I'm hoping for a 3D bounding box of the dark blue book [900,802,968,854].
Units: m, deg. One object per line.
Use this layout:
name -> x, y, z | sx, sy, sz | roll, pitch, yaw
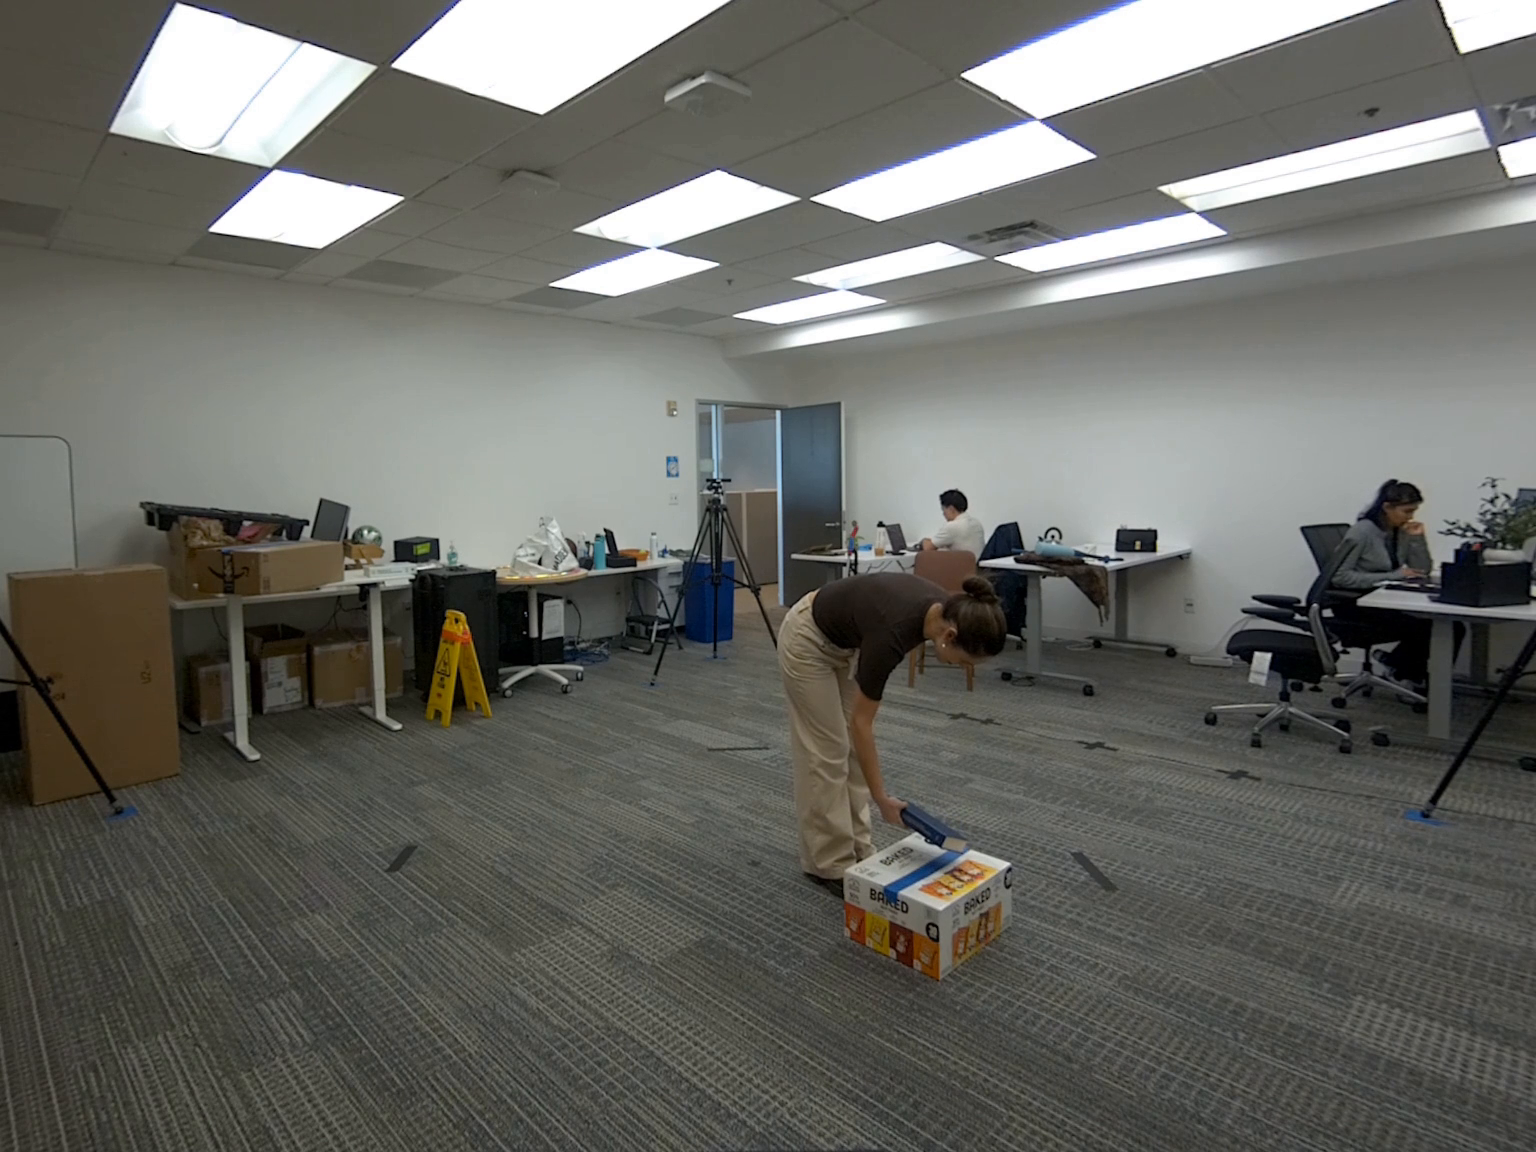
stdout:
dark blue book -> 0.502, 0.784, 2.668 | 0.157, 0.045, 0.254 | 25, 0, -44
